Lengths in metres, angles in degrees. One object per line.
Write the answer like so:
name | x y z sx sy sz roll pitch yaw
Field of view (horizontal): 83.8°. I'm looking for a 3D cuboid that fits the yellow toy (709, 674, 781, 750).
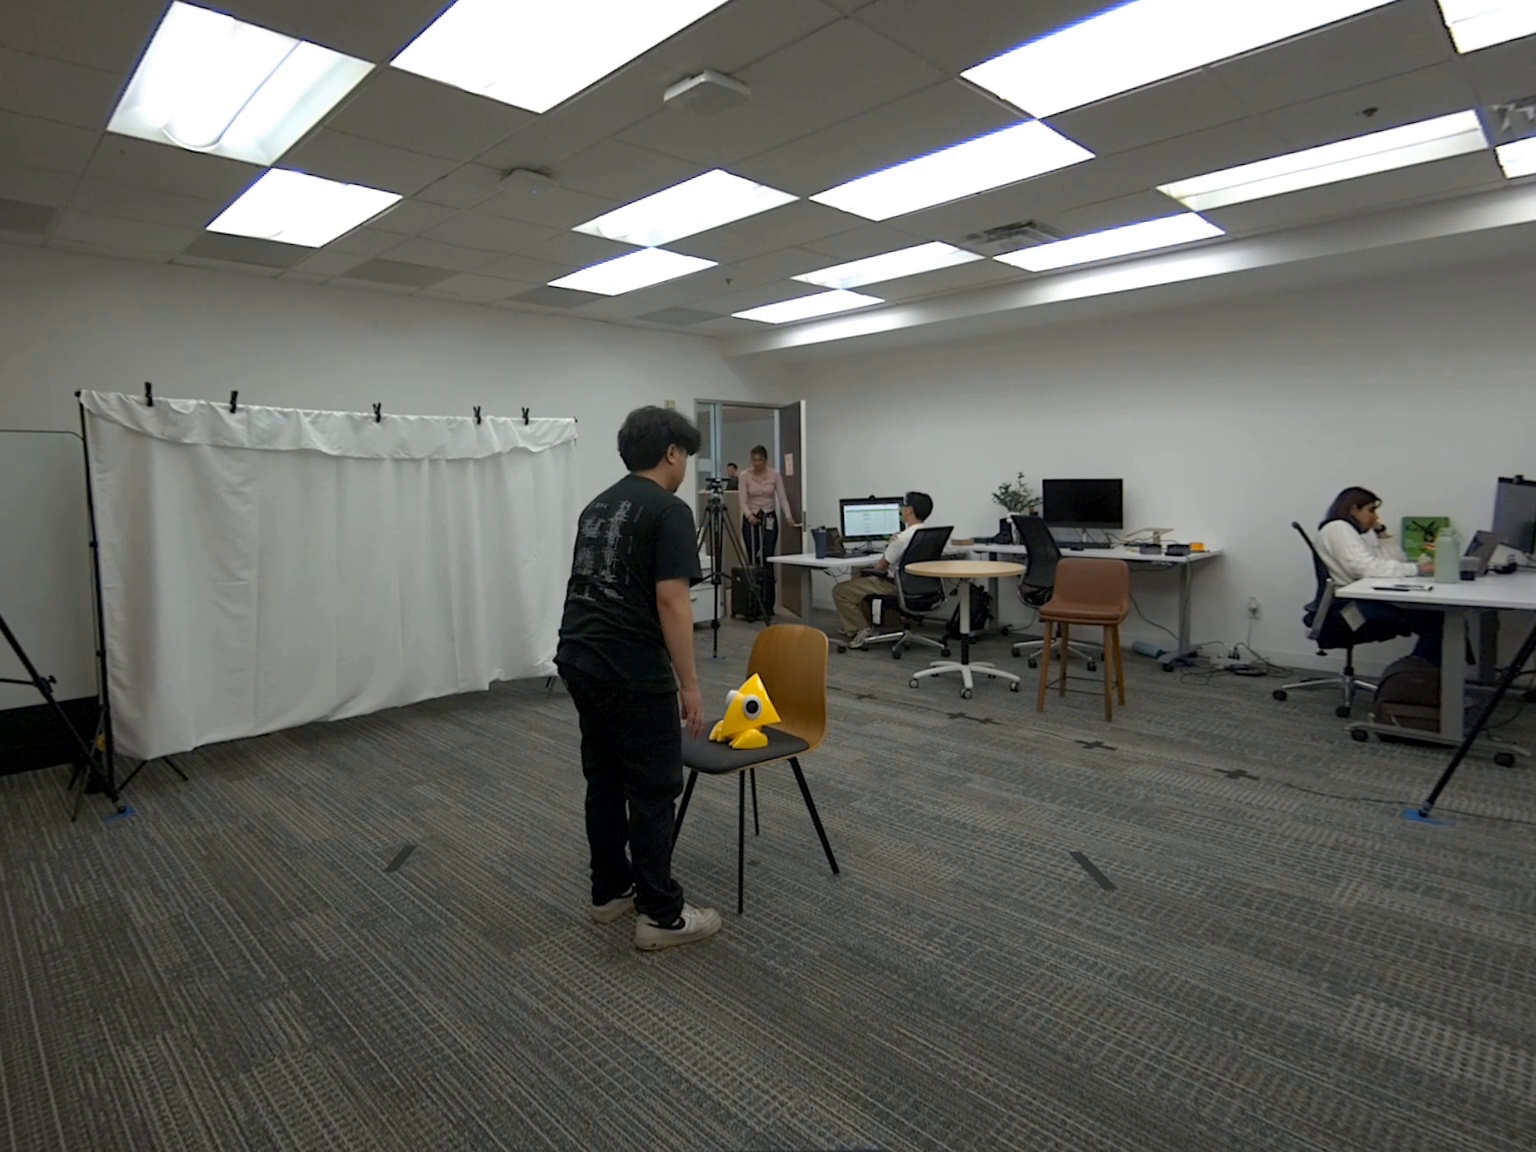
yellow toy | -0.085 0.465 2.993 0.187 0.230 0.211 1 3 -40
